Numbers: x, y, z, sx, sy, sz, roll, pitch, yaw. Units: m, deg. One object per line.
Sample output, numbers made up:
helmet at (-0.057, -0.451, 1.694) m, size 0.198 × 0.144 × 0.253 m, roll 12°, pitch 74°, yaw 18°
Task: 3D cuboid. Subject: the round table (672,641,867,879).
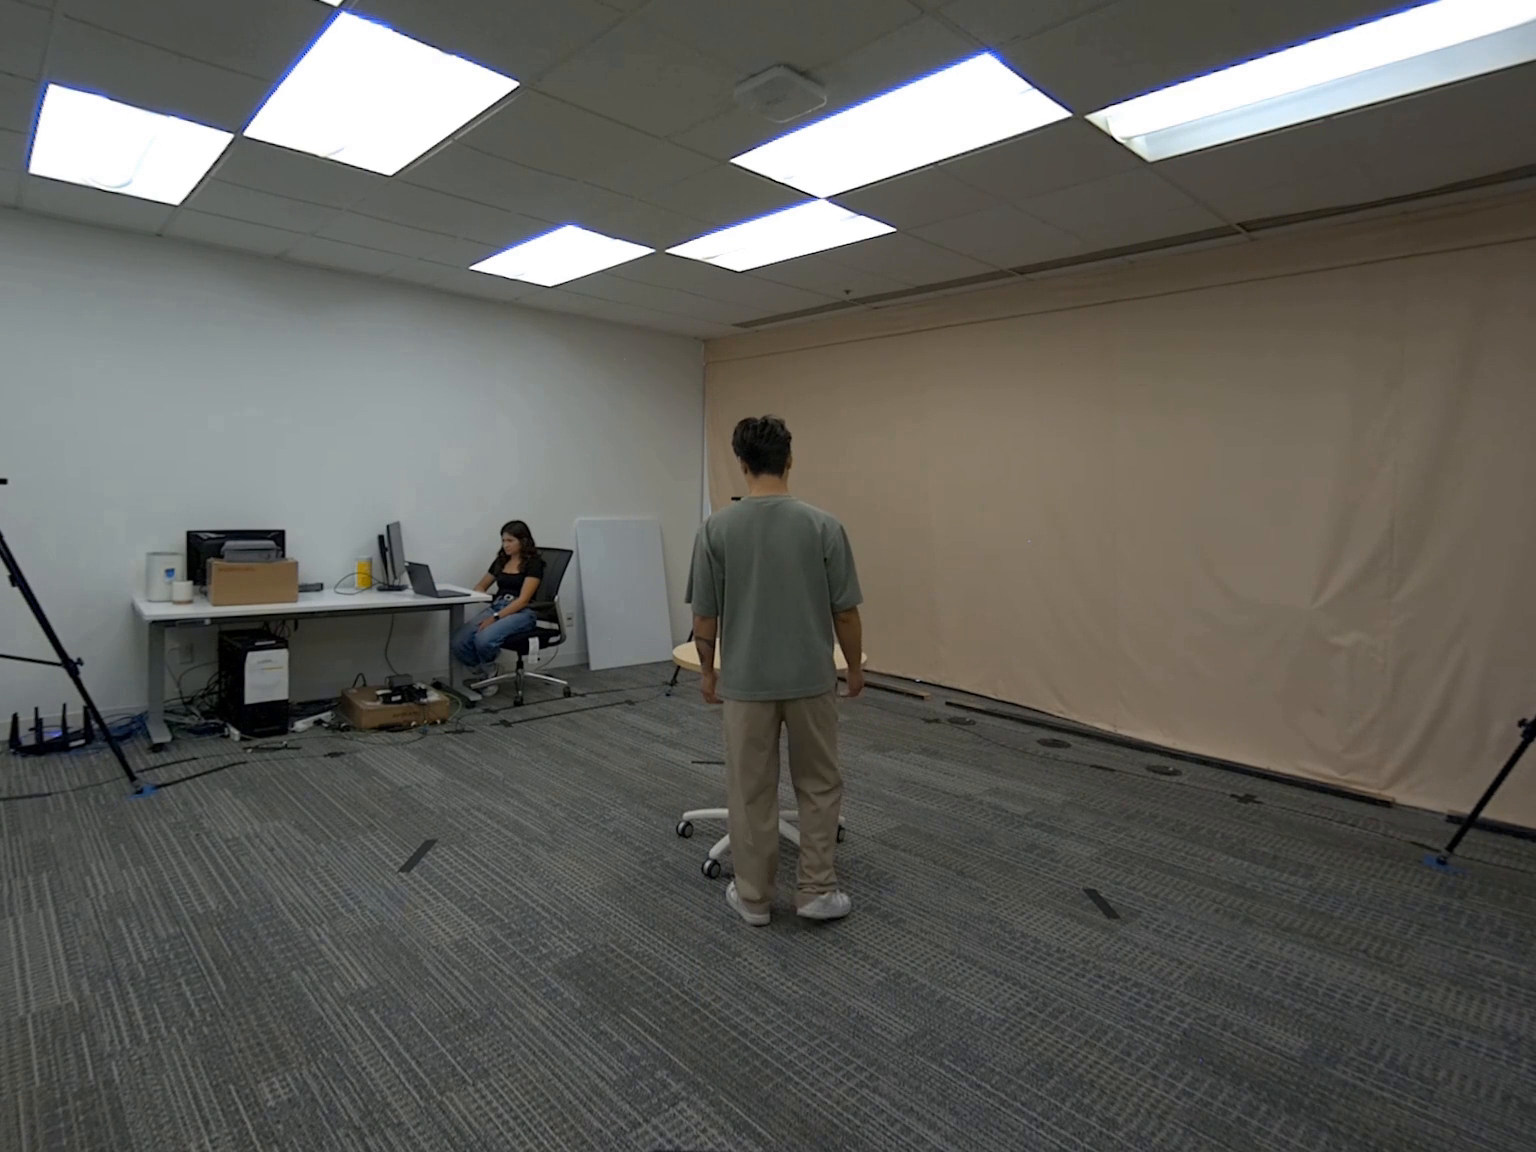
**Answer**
round table at (-0.026, 0.695, 3.366) m, size 0.784 × 0.784 × 0.788 m, roll 1°, pitch 4°, yaw -1°
